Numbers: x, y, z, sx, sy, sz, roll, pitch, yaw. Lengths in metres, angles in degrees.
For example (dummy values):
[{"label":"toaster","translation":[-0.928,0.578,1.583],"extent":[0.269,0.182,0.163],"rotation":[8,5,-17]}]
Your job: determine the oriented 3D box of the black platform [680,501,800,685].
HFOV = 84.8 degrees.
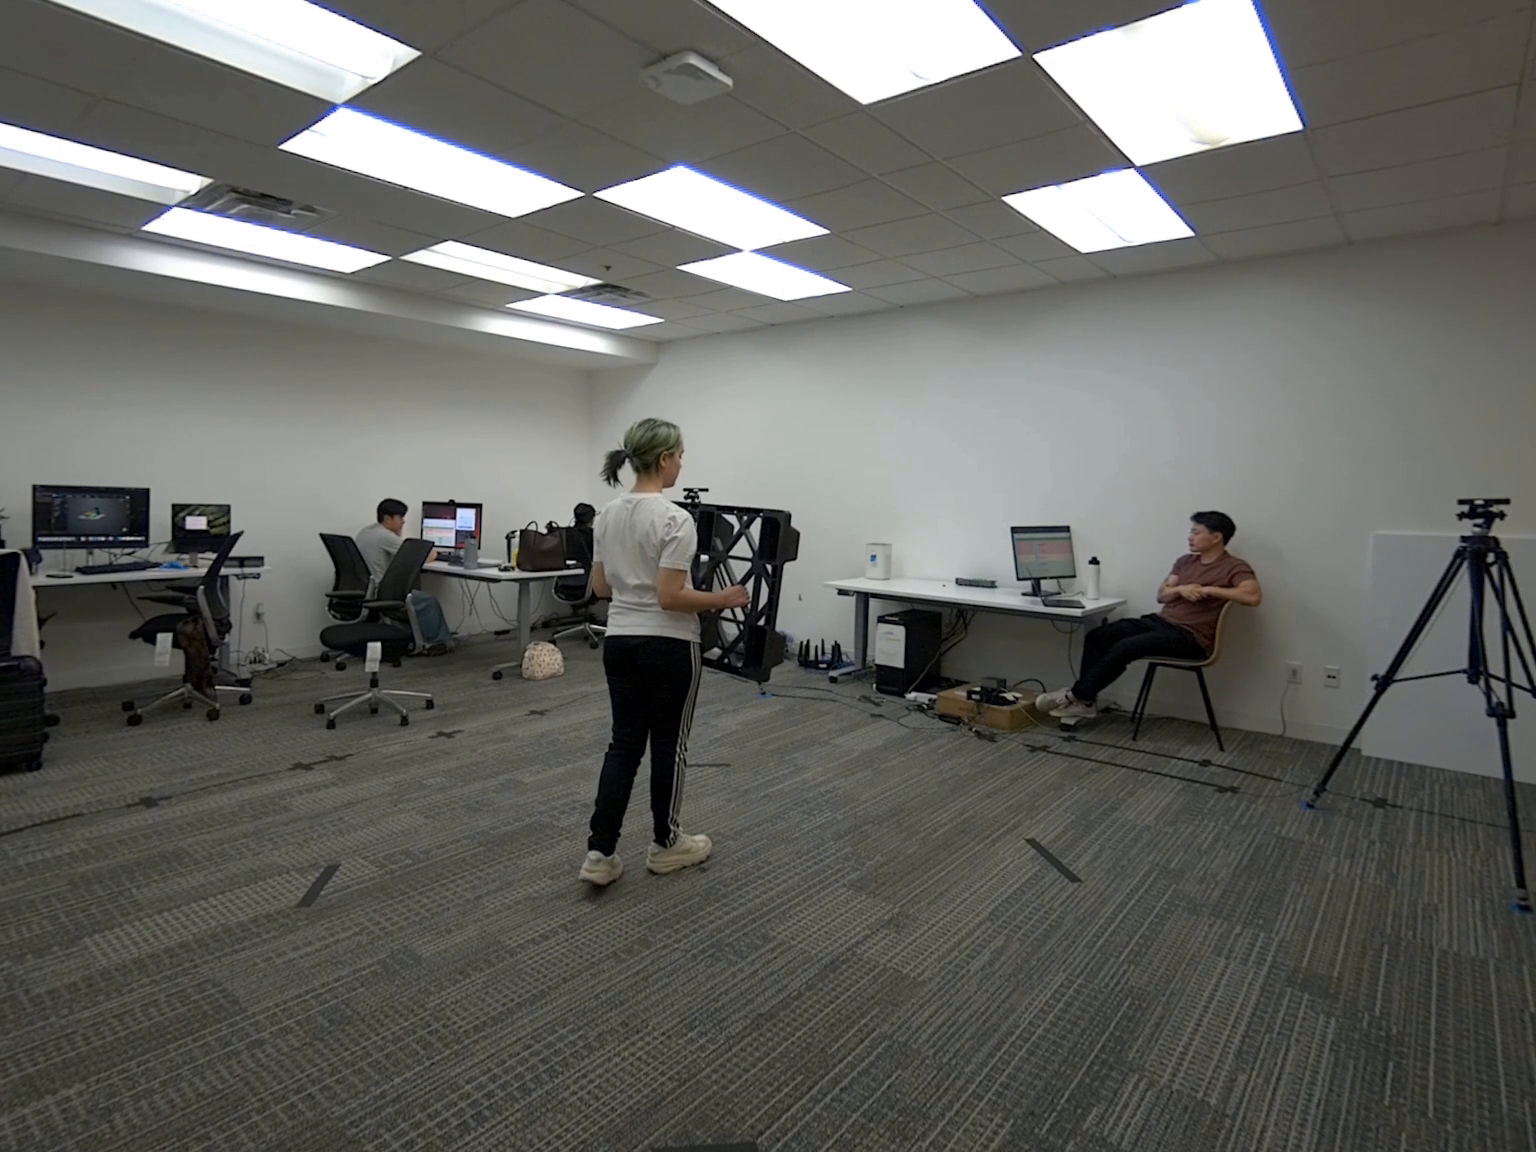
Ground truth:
[{"label":"black platform","translation":[-0.231,0.031,3.234],"extent":[0.138,0.605,0.834],"rotation":[7,0,-43]}]
